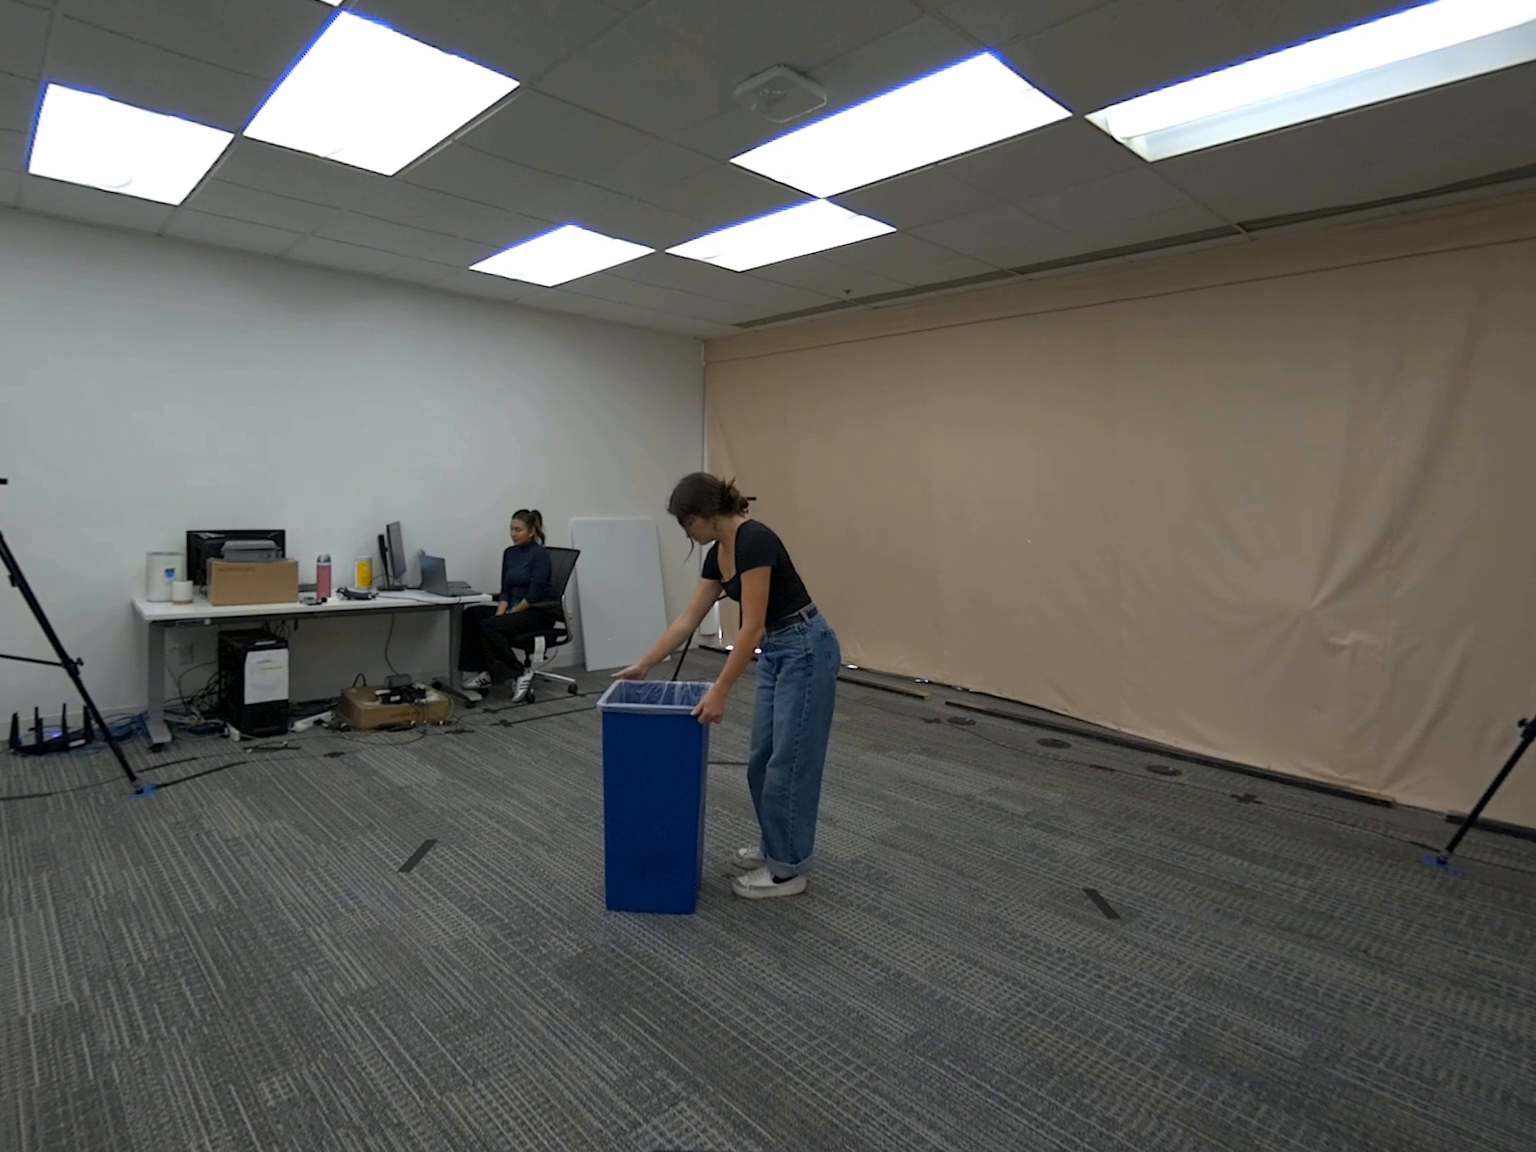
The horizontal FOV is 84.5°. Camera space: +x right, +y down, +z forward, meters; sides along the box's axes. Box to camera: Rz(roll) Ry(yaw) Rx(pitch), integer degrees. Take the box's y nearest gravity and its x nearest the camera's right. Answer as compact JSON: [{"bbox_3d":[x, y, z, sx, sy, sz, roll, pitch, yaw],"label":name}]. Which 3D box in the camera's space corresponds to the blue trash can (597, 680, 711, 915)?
[{"bbox_3d":[-0.390,0.762,2.931,0.379,0.712,0.374,1,3,3],"label":"blue trash can"}]
